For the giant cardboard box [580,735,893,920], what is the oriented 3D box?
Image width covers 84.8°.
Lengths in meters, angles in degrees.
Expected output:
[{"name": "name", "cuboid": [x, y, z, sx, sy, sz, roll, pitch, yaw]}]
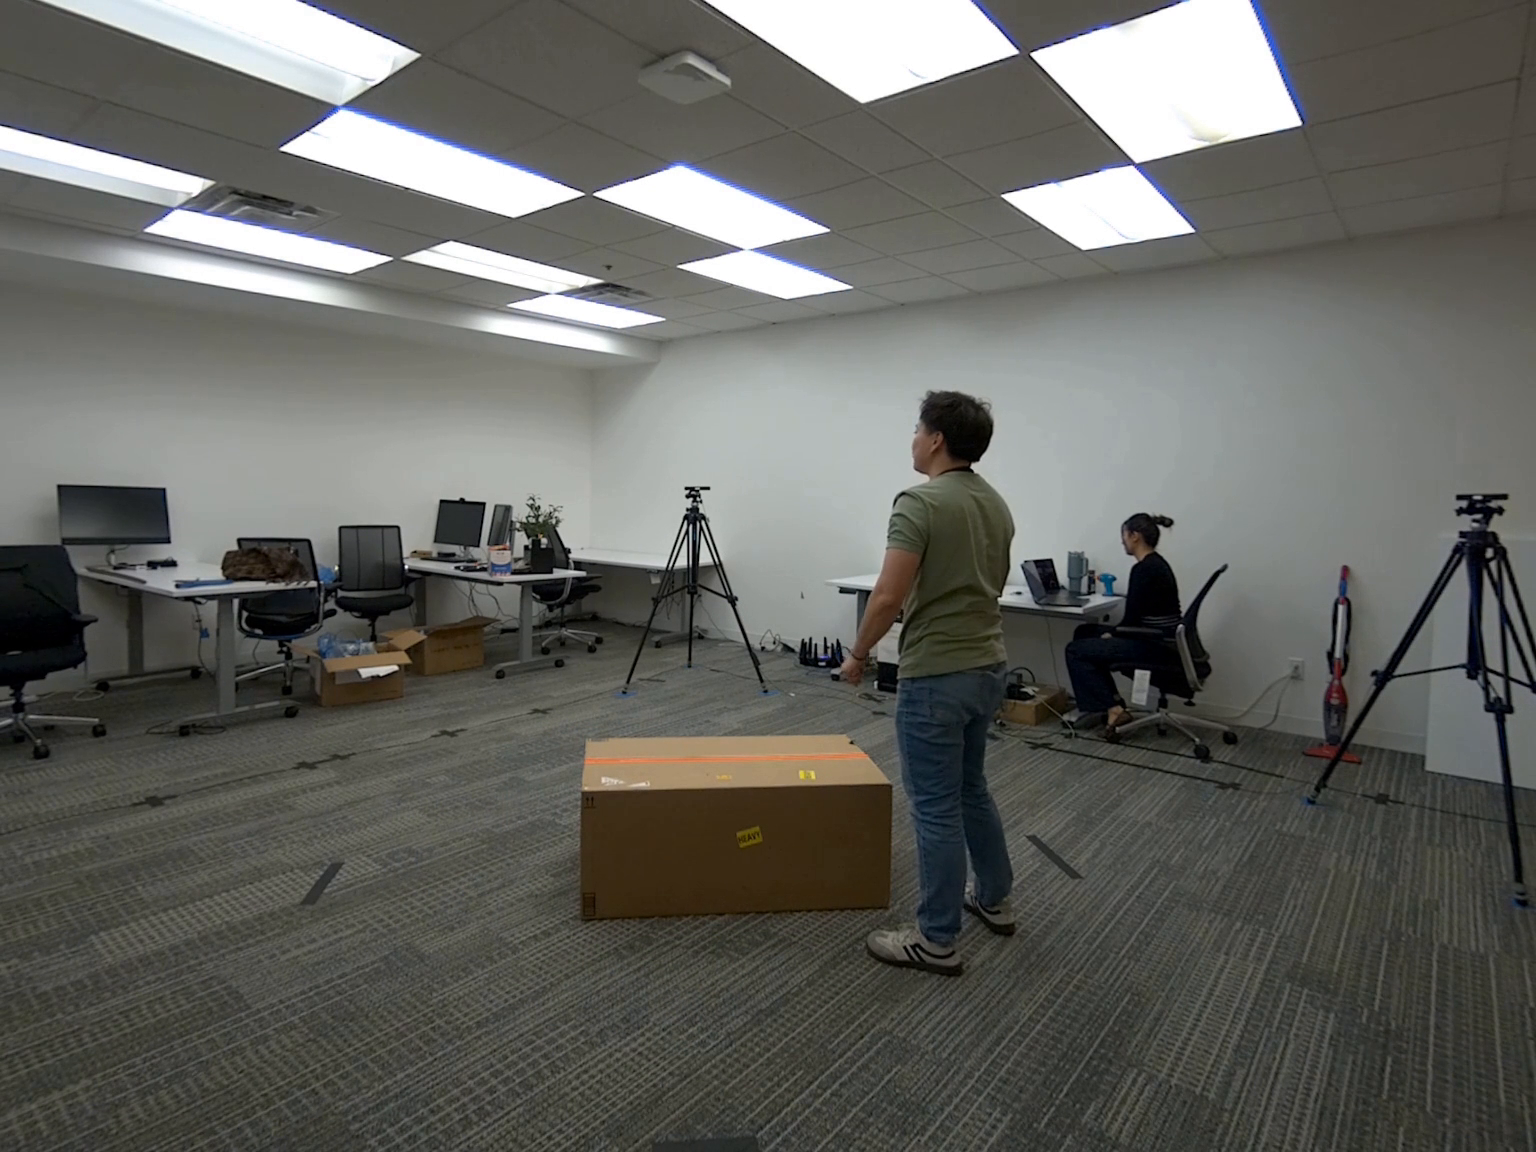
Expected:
[{"name": "giant cardboard box", "cuboid": [-0.157, 0.857, 3.045, 1.018, 0.424, 0.585, 0, 5, -8]}]
